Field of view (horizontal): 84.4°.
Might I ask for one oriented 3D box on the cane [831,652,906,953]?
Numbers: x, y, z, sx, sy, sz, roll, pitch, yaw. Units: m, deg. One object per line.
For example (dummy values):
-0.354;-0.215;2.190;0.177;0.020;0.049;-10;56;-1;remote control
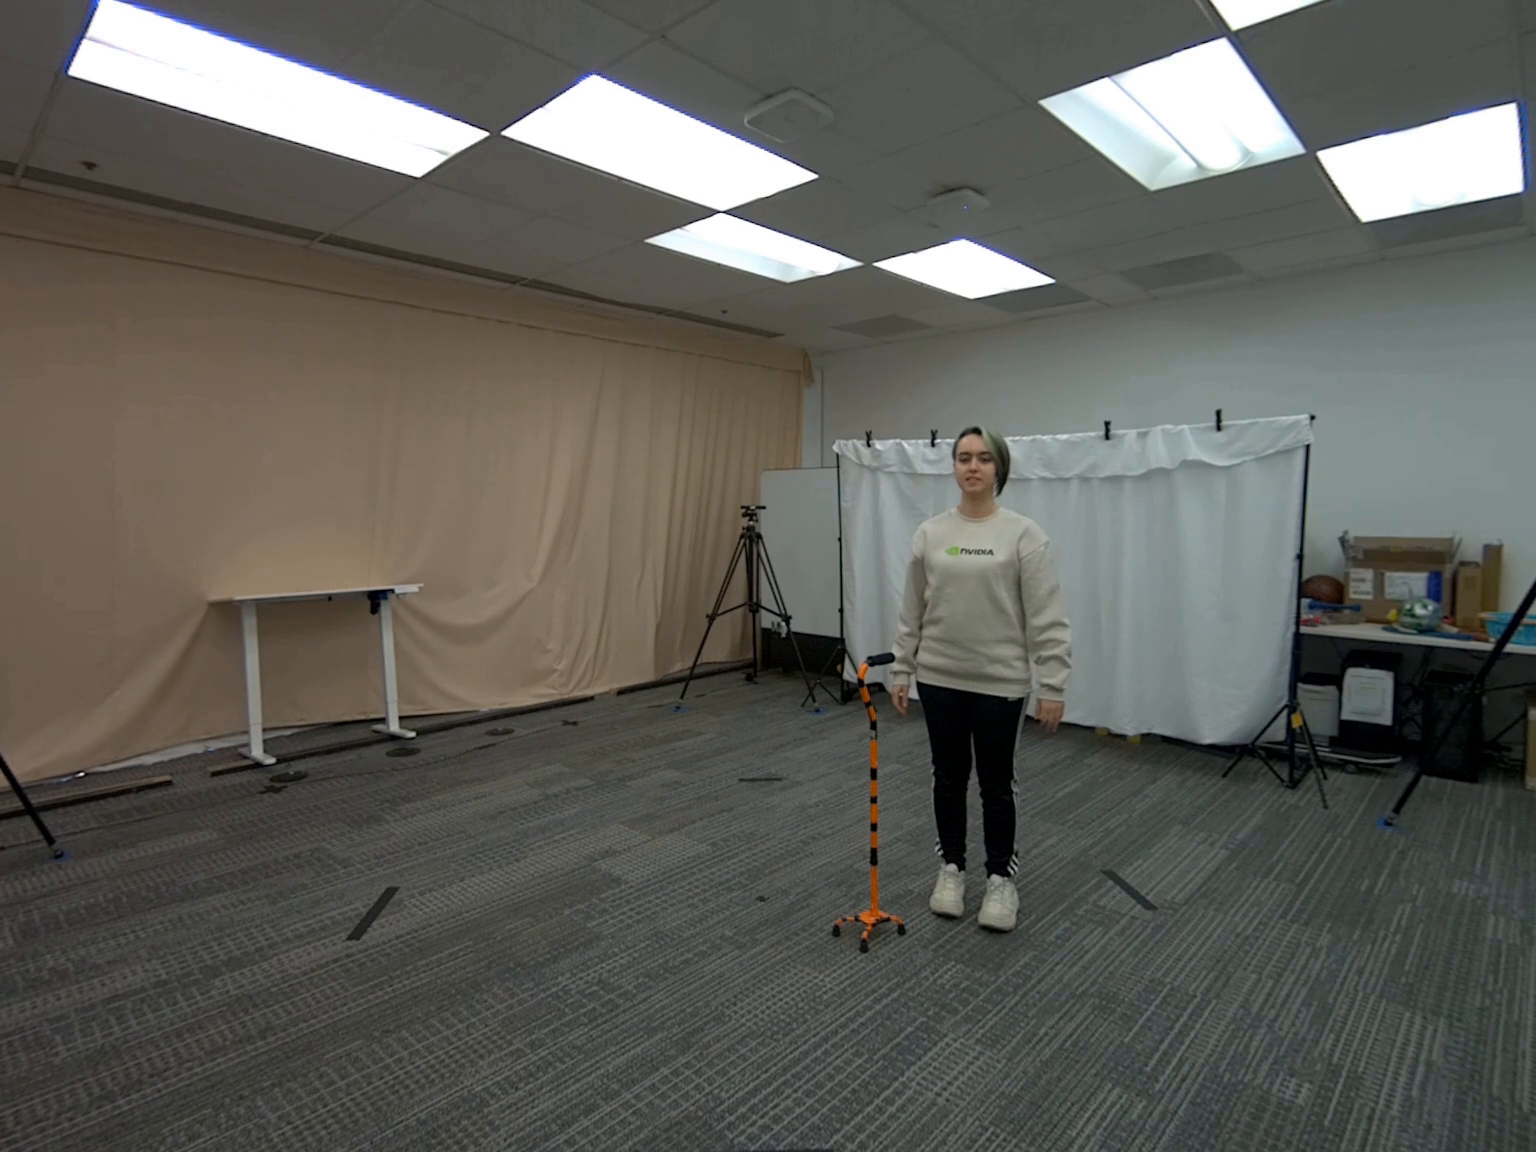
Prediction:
0.330;0.712;2.707;0.200;0.906;0.156;-4;4;-37;cane
